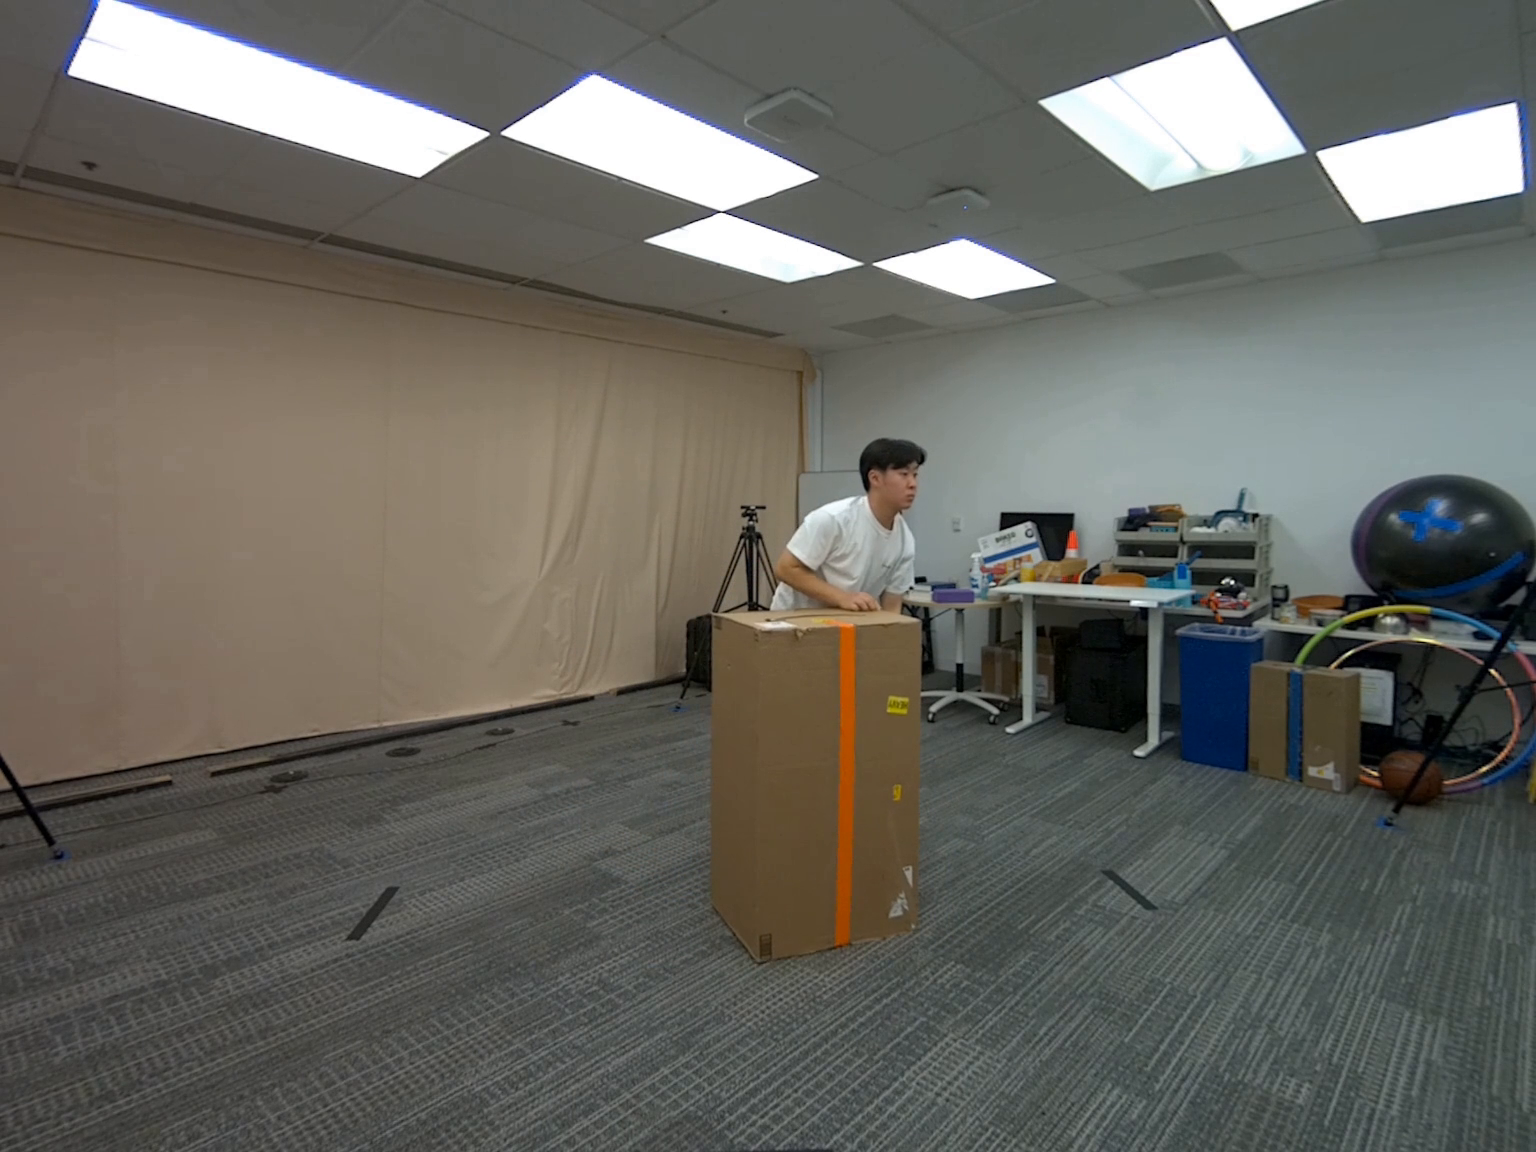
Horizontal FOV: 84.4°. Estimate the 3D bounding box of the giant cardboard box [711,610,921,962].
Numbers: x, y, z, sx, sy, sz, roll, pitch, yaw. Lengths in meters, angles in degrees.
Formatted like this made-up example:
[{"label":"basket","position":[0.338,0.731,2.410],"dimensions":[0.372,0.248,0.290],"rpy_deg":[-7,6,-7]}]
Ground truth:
[{"label":"giant cardboard box","position":[0.144,0.644,2.821],"dimensions":[0.565,1.023,0.437],"rpy_deg":[-1,4,-23]}]
